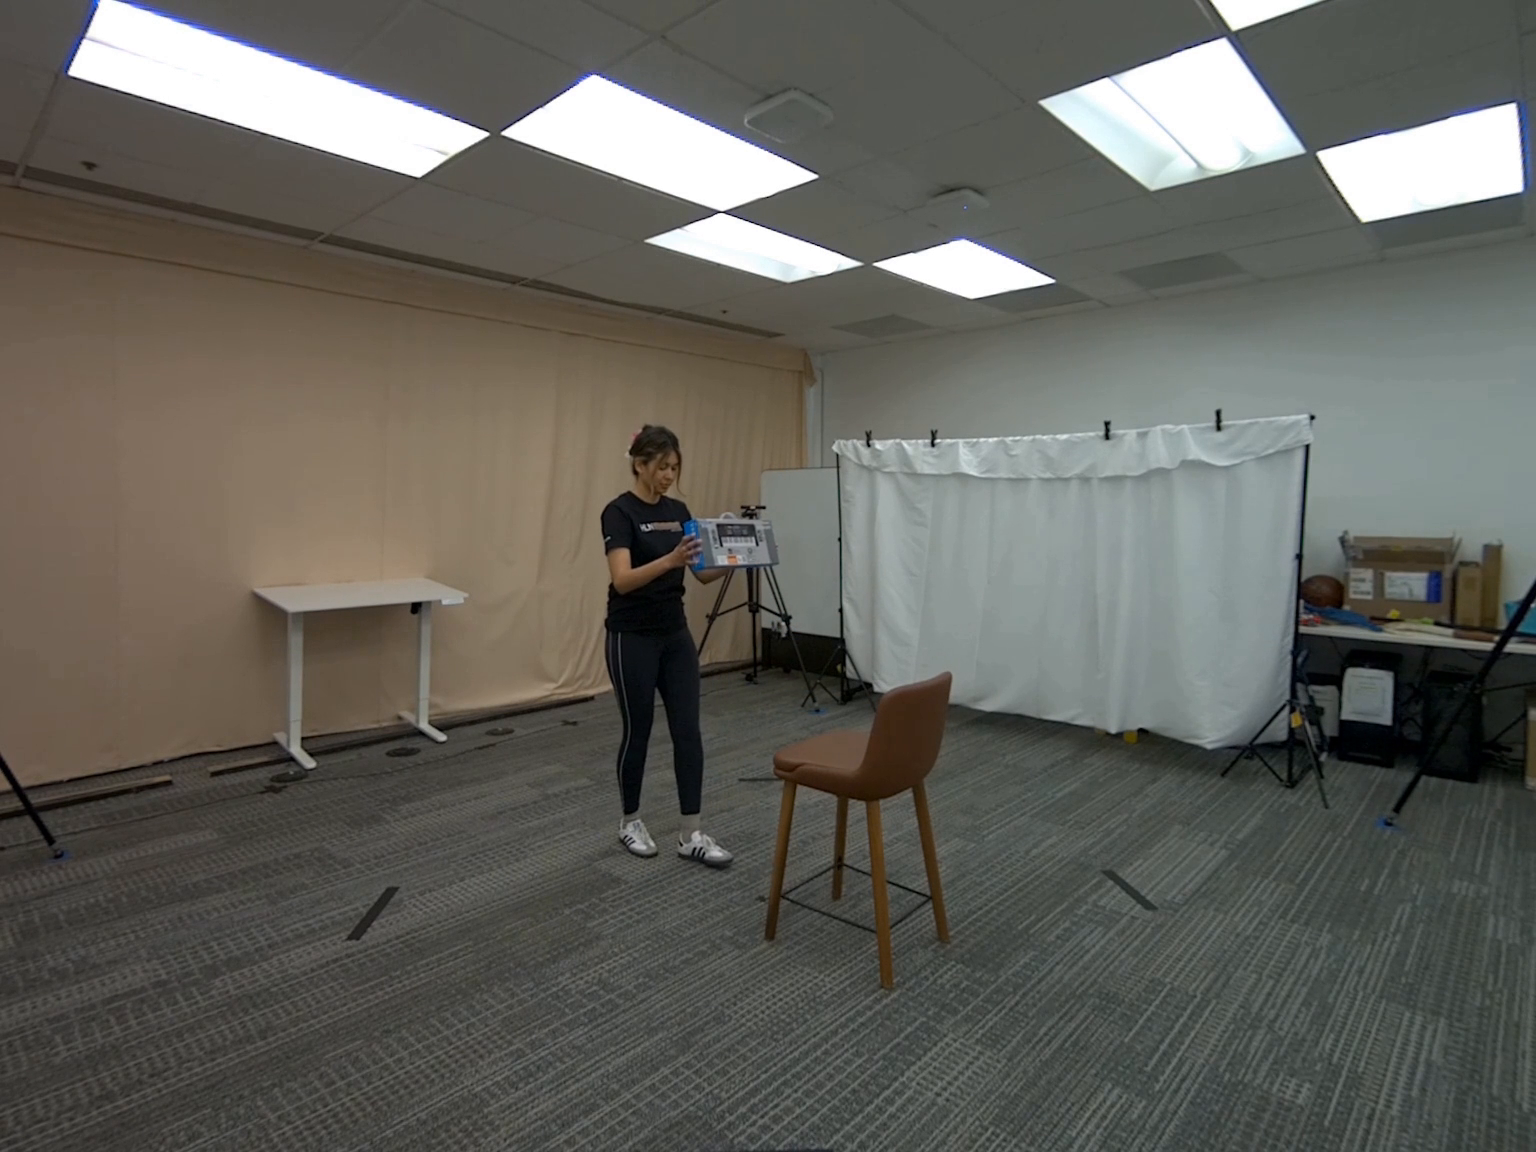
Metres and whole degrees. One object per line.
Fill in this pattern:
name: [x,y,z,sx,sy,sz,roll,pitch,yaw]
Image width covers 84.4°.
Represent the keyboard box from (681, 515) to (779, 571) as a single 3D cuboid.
keyboard box: [-0.120,-0.113,3.064,0.060,0.177,0.423,-18,-9,38]
